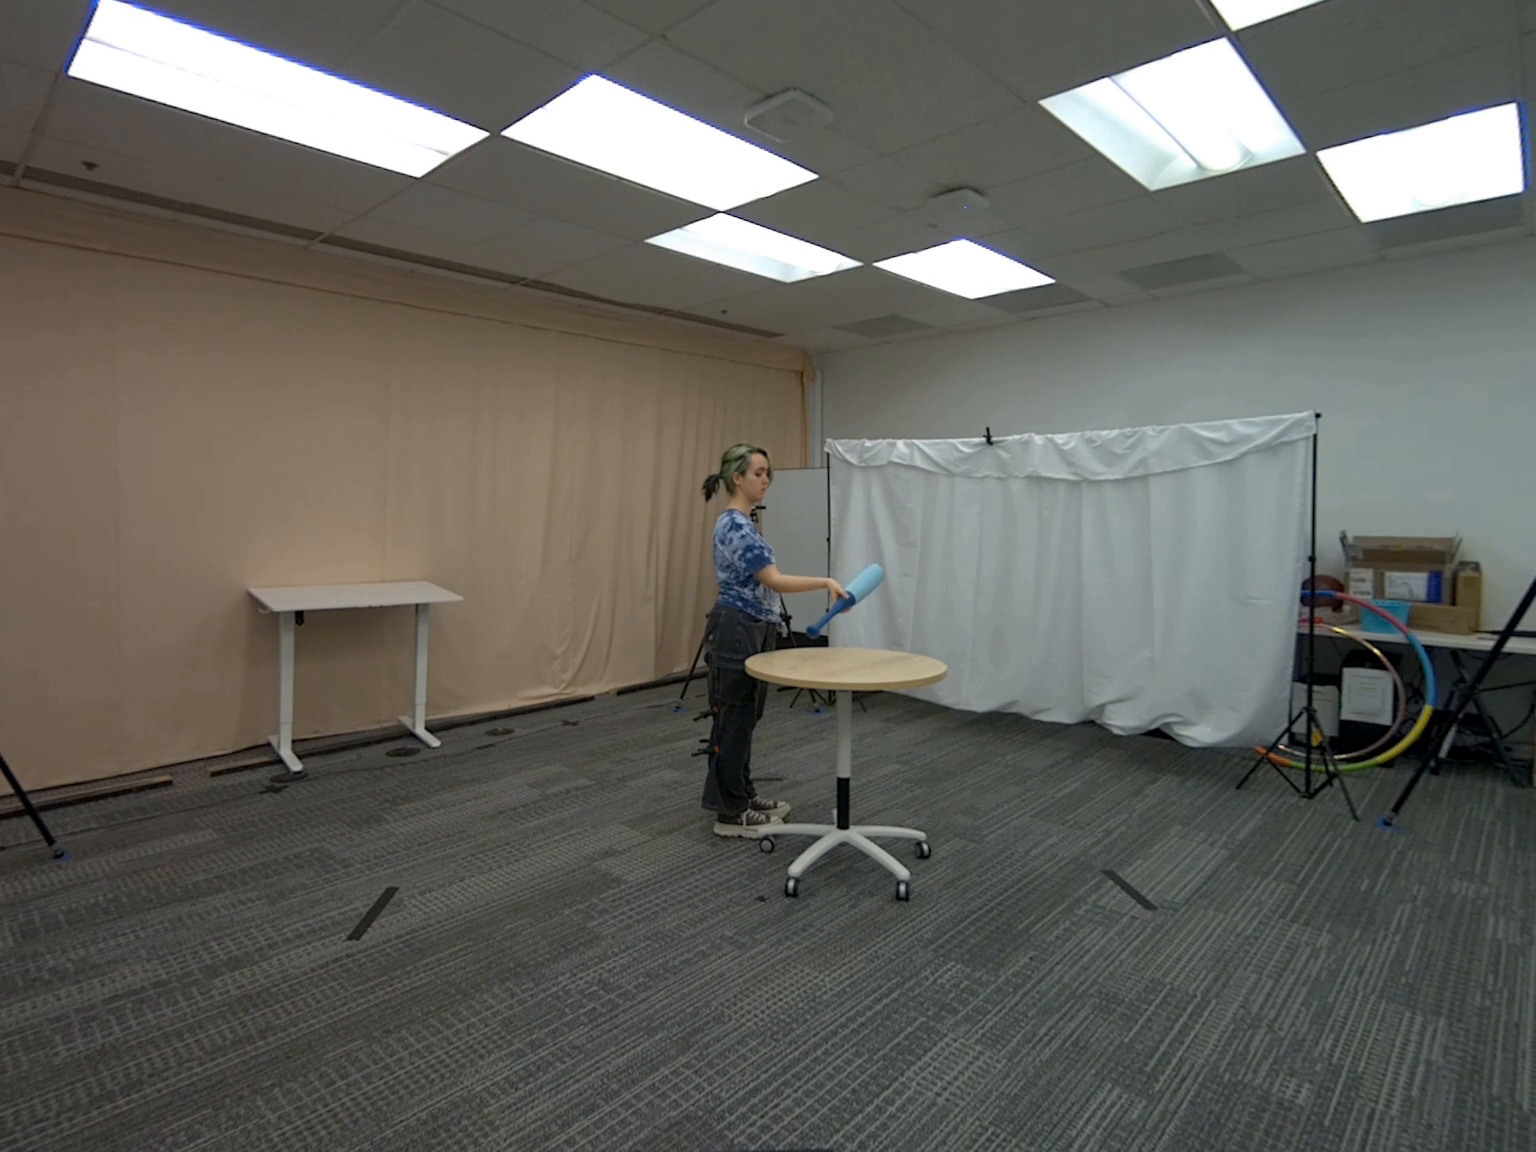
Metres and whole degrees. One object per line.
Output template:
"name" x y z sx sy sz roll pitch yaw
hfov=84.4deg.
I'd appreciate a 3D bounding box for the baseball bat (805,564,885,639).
"baseball bat" 0.317 0.094 3.222 0.092 0.087 0.535 2 26 34
